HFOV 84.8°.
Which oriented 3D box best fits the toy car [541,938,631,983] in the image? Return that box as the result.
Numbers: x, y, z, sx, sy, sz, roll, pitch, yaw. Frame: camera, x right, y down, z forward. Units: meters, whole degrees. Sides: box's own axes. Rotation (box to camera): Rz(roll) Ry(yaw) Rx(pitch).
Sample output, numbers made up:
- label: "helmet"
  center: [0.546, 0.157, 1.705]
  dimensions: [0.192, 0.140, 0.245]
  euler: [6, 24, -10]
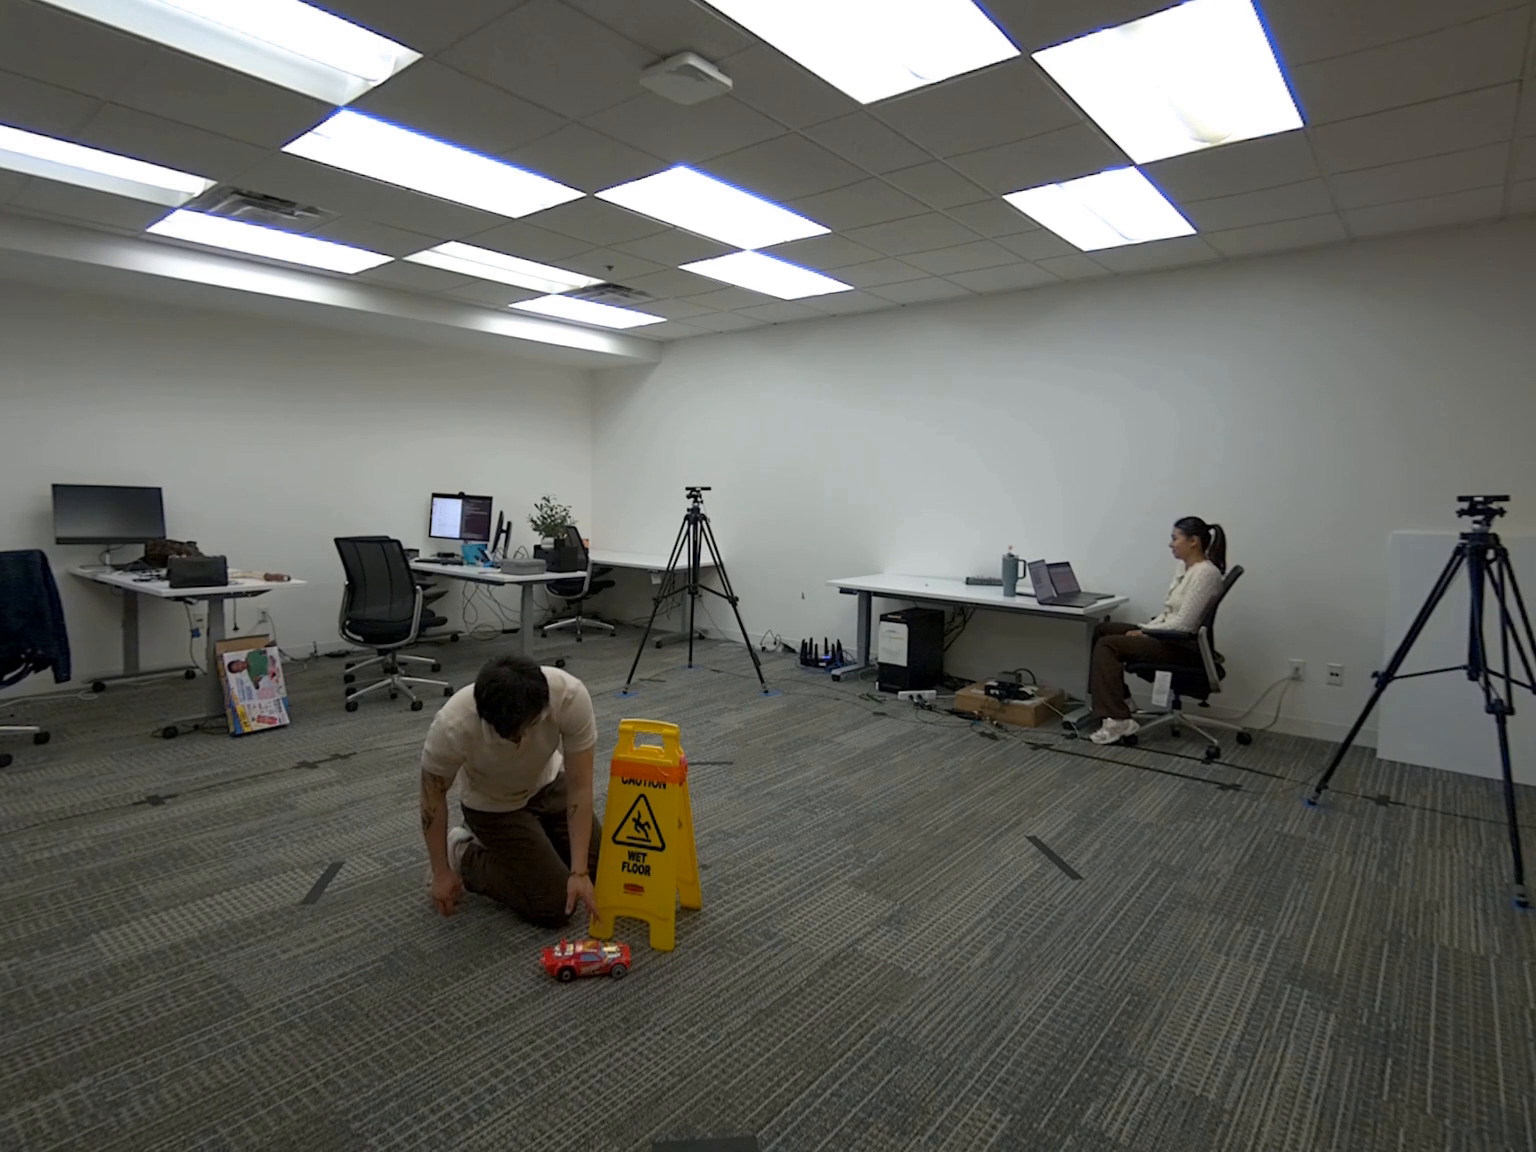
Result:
- label: "toy car"
  center: [-0.536, 1.097, 2.430]
  dimensions: [0.252, 0.083, 0.132]
  euler: [12, 3, -9]
